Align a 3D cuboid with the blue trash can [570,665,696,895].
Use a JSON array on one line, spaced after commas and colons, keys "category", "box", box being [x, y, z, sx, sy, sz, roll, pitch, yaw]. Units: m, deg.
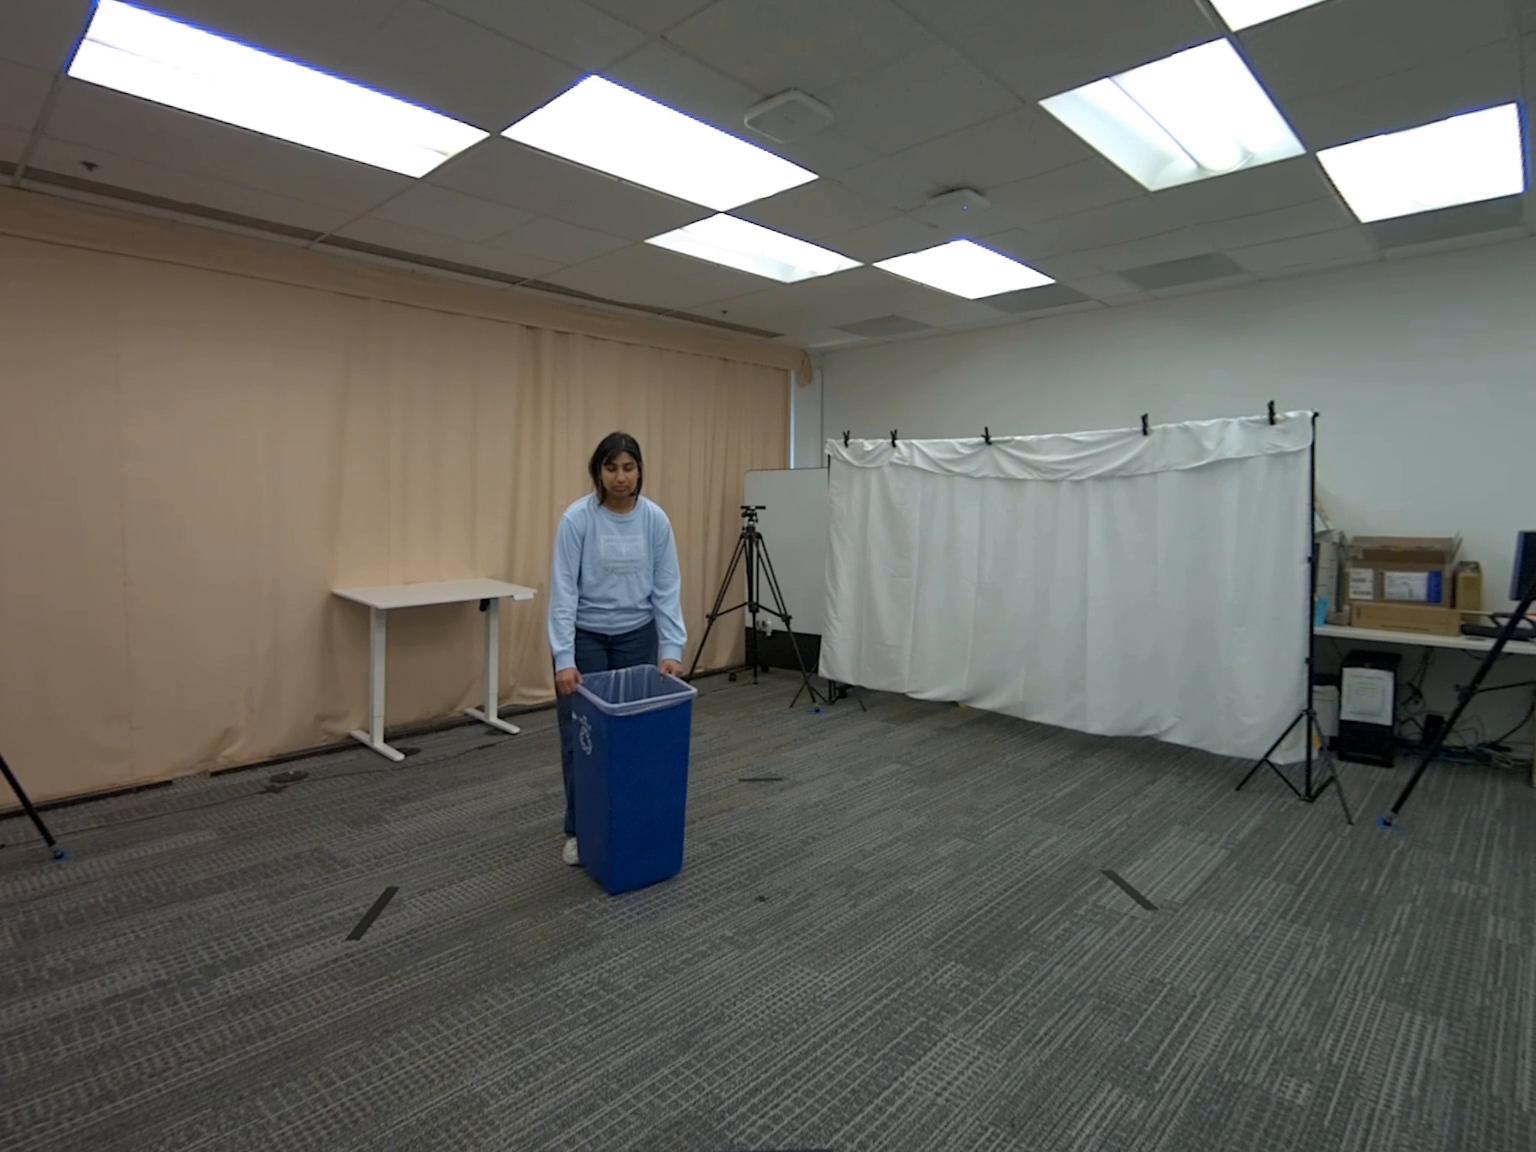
[{"category": "blue trash can", "box": [-0.504, 0.745, 3.126, 0.367, 0.709, 0.387, -5, 12, -34]}]
